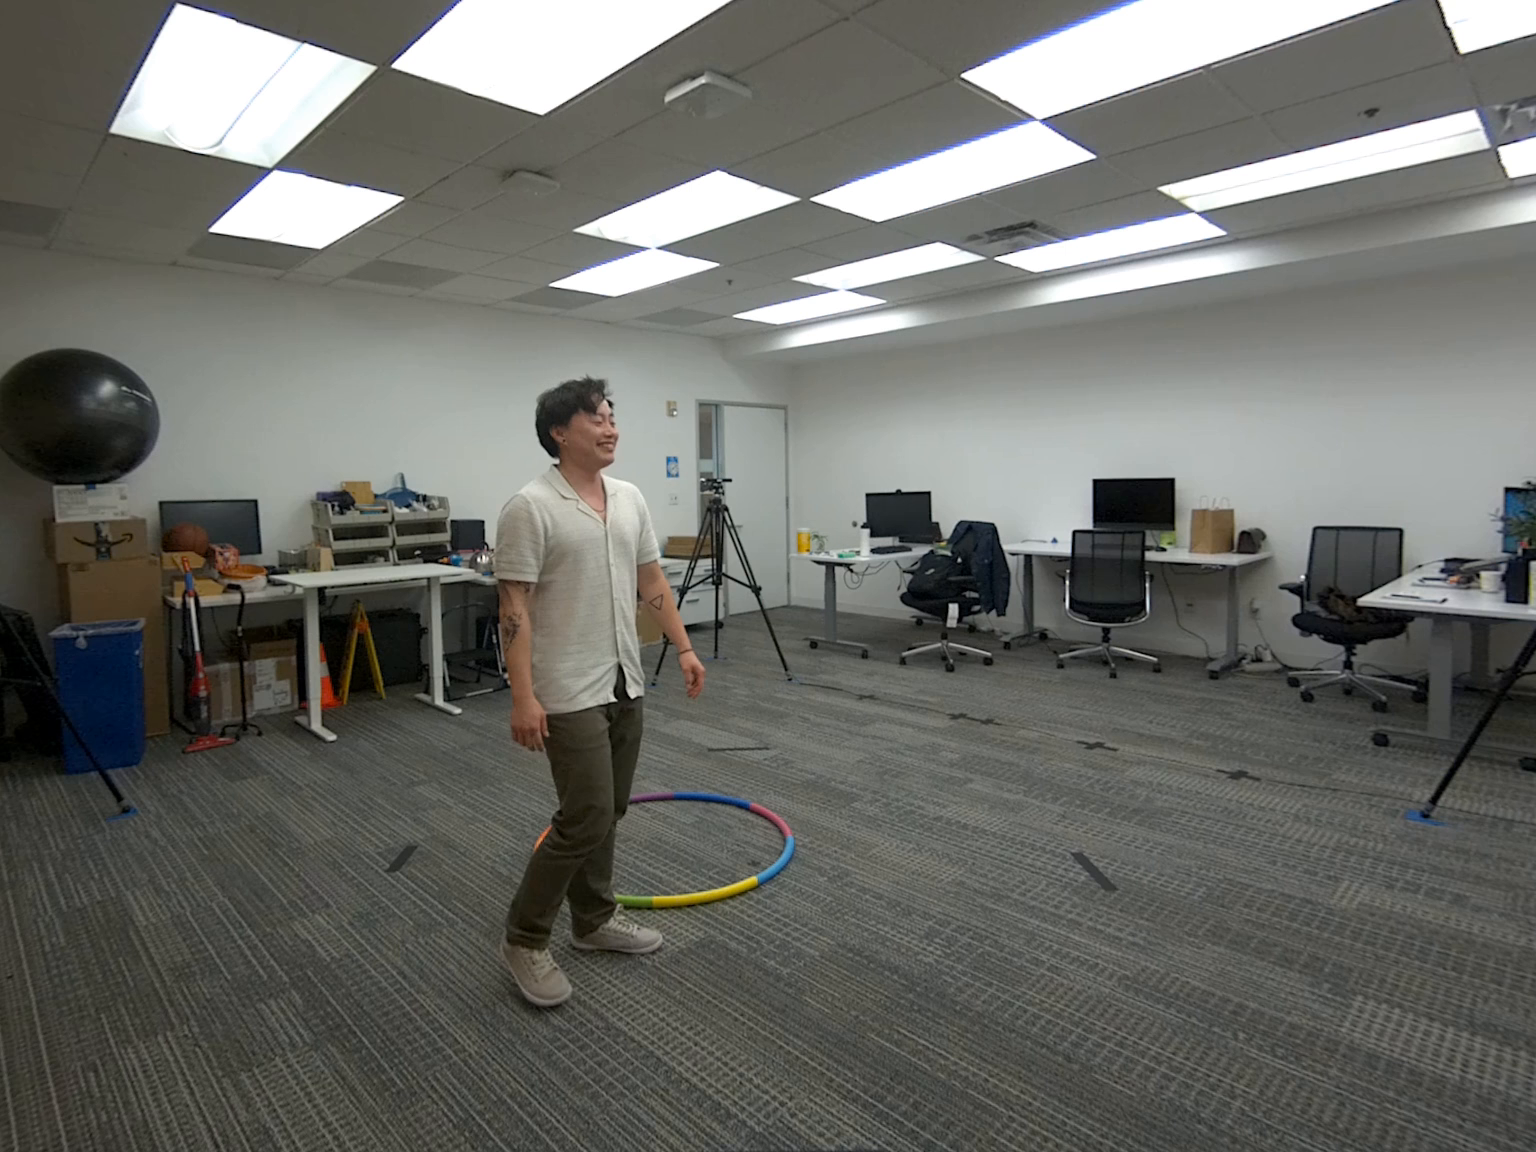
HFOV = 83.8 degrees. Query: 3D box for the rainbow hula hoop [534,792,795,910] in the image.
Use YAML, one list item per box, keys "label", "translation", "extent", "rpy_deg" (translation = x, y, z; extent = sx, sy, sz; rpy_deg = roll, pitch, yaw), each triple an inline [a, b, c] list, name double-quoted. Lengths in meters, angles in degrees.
- label: "rainbow hula hoop"
  translation: [-0.389, 1.001, 3.271]
  extent: [0.978, 0.035, 0.984]
  rpy_deg: [-1, 6, -2]
